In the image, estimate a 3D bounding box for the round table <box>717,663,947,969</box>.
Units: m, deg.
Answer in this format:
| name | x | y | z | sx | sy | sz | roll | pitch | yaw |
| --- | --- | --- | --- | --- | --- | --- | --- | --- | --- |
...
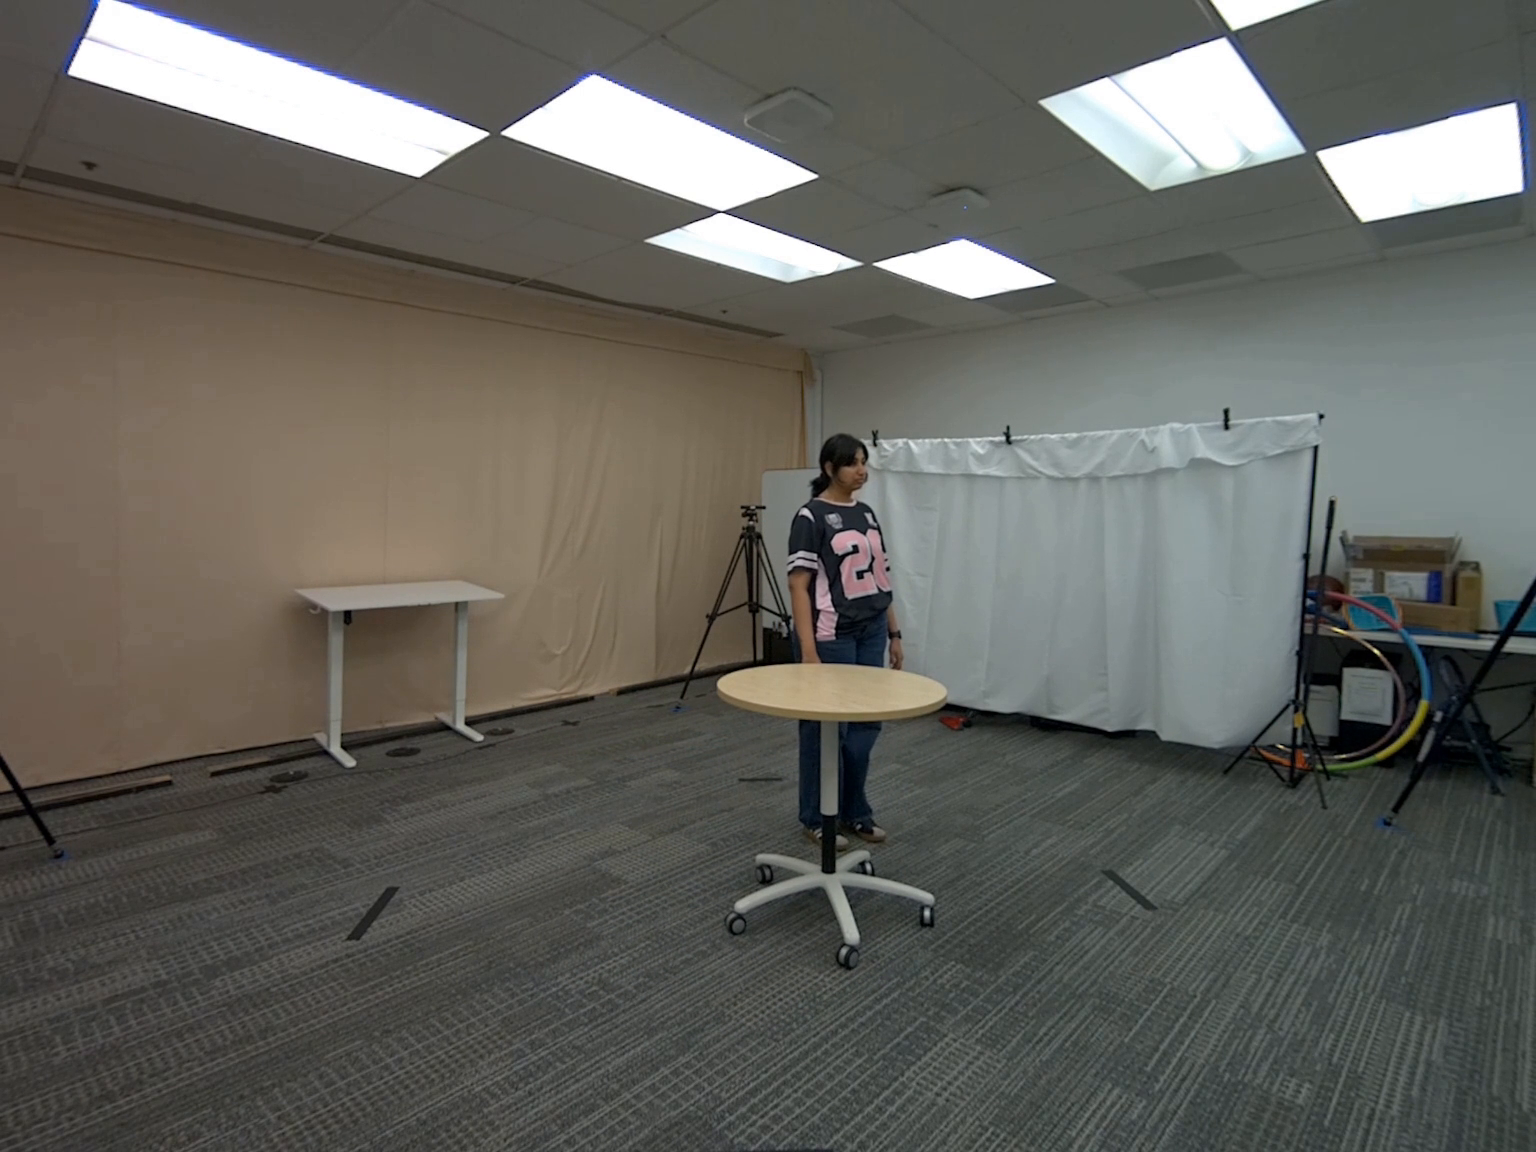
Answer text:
| name | x | y | z | sx | sy | sz | roll | pitch | yaw |
| --- | --- | --- | --- | --- | --- | --- | --- | --- | --- |
| round table | 0.202 | 0.764 | 2.864 | 0.763 | 0.792 | 0.767 | 0 | 4 | -2 |
